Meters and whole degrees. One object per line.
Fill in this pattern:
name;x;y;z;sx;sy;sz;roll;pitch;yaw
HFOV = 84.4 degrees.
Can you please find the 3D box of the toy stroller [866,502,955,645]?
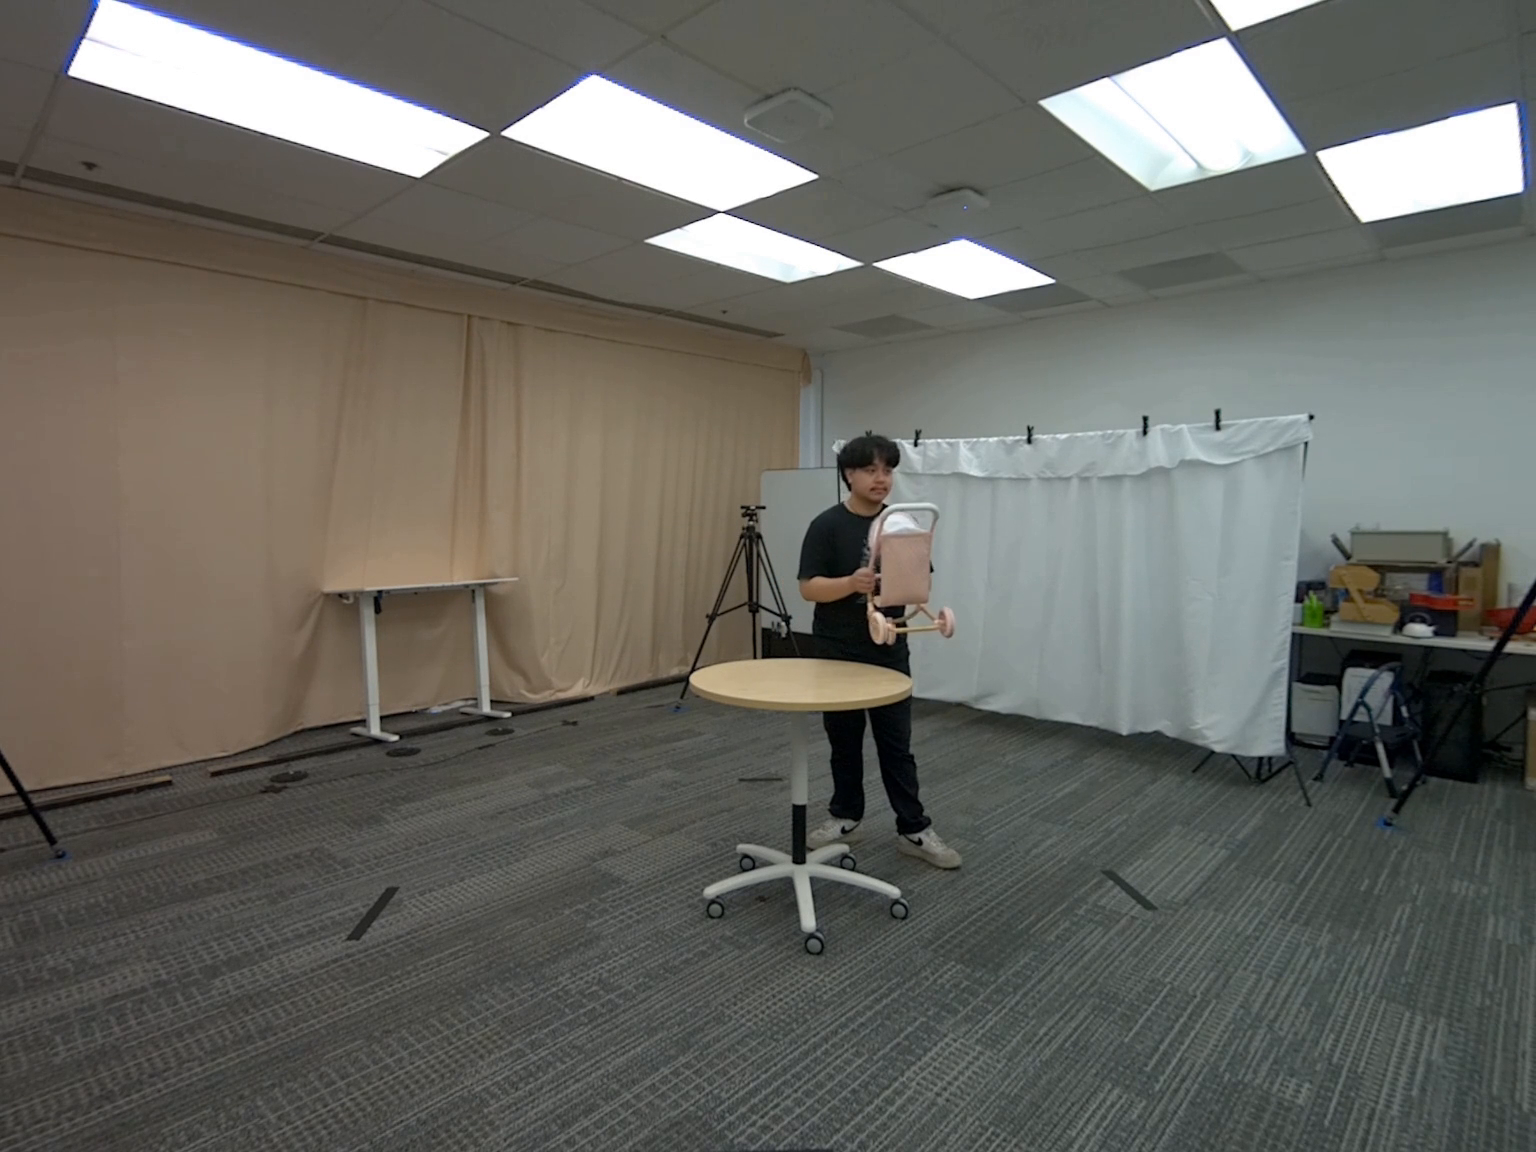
toy stroller;0.477;0.007;3.021;0.280;0.533;0.344;-4;5;-6
